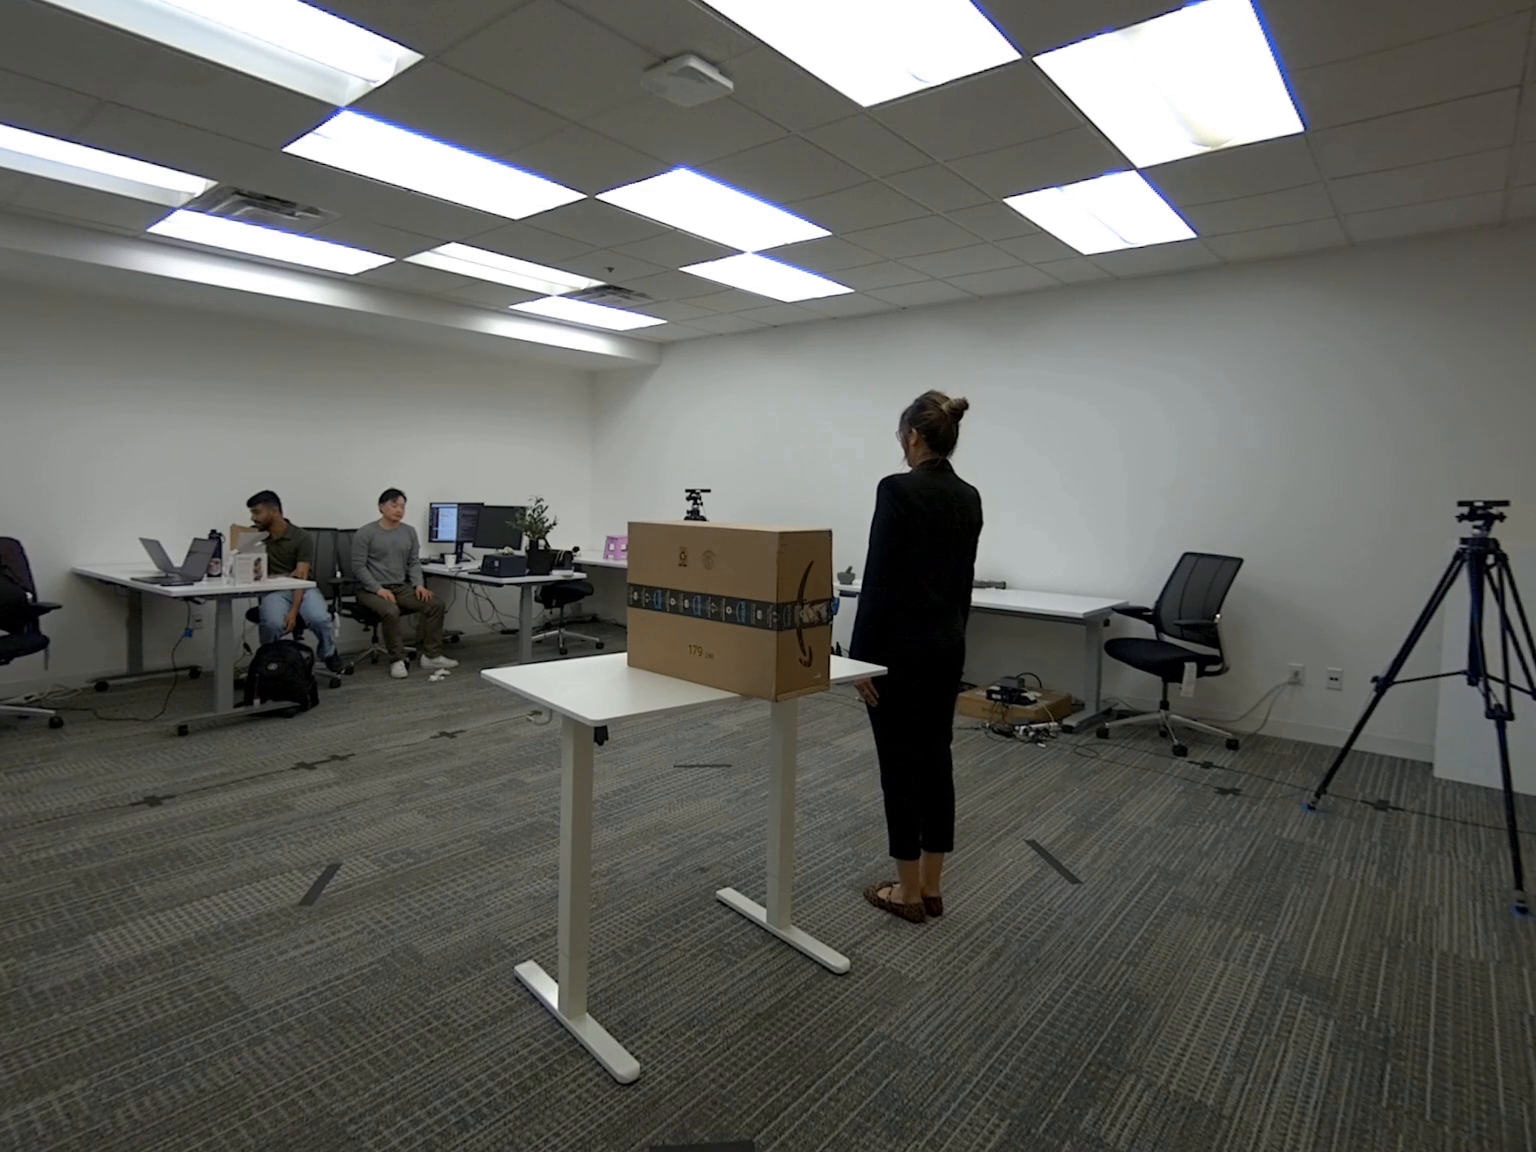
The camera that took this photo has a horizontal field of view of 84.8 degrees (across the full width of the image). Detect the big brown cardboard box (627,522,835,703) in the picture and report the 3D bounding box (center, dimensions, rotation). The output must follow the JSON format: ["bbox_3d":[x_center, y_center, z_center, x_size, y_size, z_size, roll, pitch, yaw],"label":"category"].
[{"bbox_3d":[-0.117,0.065,2.304,0.609,0.416,0.226,6,5,42],"label":"big brown cardboard box"}]
